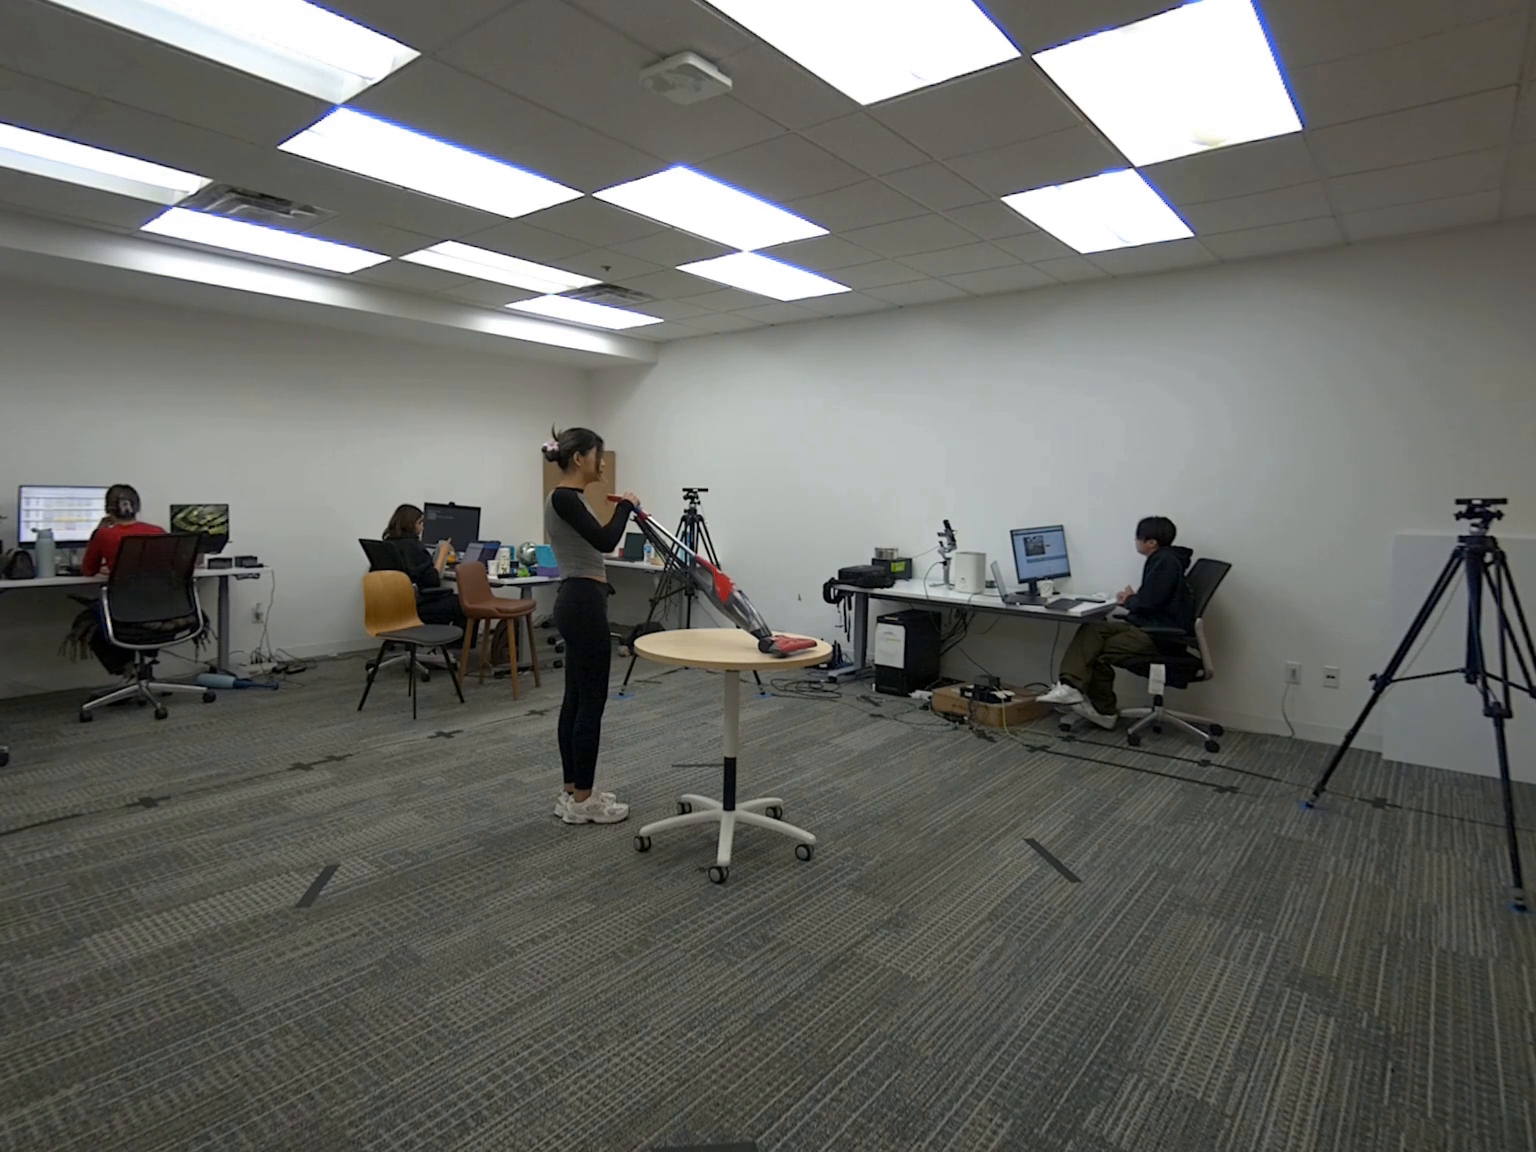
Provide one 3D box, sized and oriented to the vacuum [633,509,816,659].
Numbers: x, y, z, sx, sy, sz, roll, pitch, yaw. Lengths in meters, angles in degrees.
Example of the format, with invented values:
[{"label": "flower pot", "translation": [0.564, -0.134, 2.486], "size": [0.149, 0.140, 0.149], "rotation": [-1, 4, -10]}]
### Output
[{"label": "vacuum", "translation": [-0.294, -0.027, 3.380], "size": [1.087, 0.143, 0.245], "rotation": [38, 20, 28]}]
